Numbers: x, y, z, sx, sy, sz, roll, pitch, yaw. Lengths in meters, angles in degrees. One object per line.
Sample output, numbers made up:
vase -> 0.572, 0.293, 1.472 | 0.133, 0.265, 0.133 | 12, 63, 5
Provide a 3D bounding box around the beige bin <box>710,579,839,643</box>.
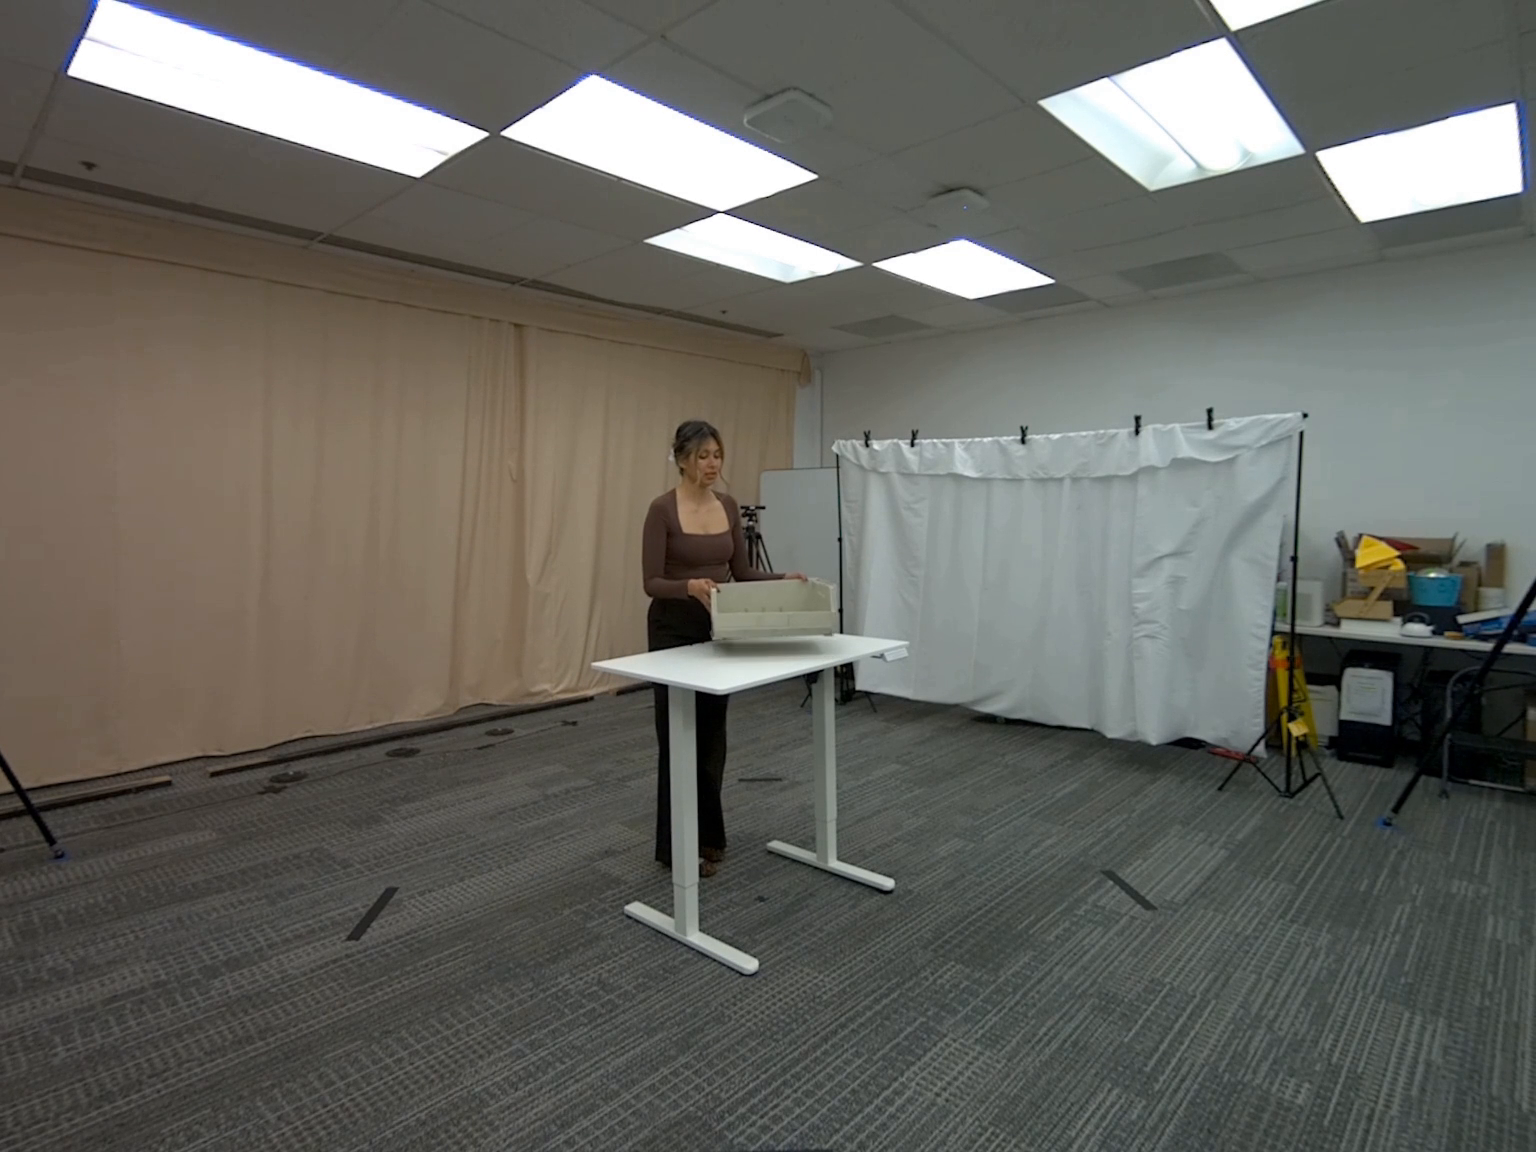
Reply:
beige bin -> 0.003, 0.116, 2.969 | 0.422, 0.189, 0.377 | -1, -1, -2
